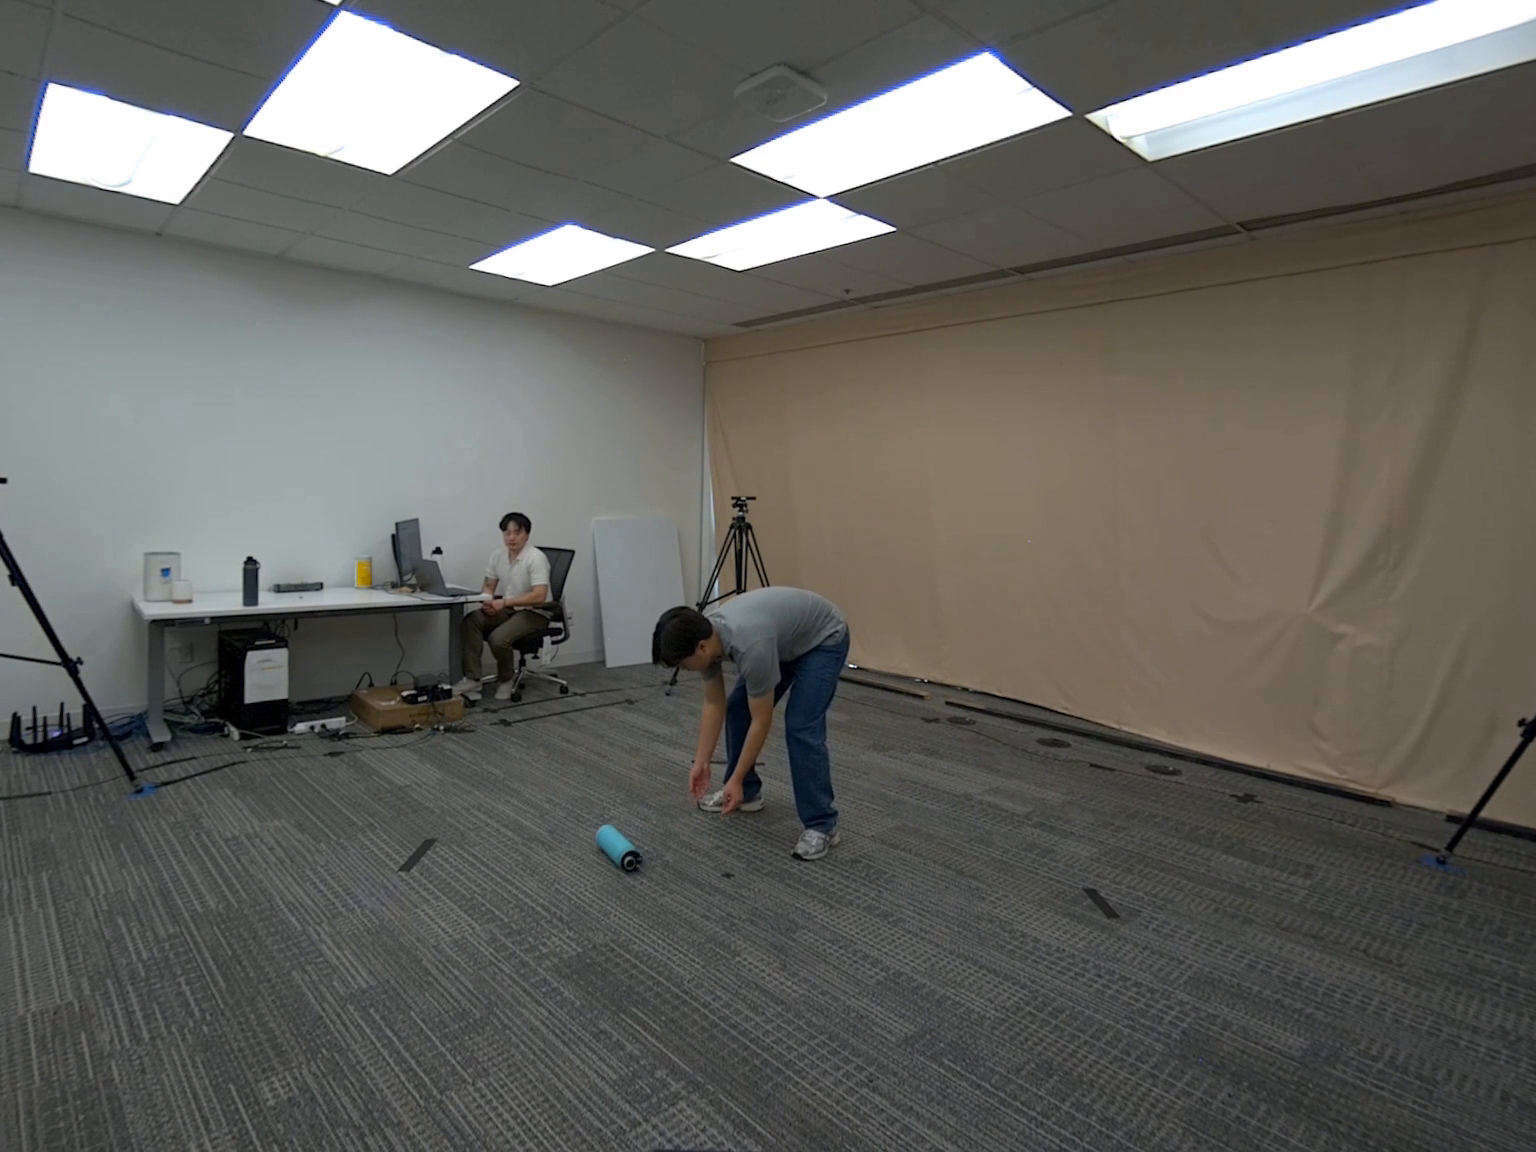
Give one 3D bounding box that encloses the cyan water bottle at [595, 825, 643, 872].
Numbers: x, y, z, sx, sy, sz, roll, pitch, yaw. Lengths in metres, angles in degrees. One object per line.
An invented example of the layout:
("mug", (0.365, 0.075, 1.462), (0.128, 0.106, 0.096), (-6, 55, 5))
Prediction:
("cyan water bottle", (-0.572, 1.040, 3.206), (0.090, 0.092, 0.290), (-1, 8, -31))
